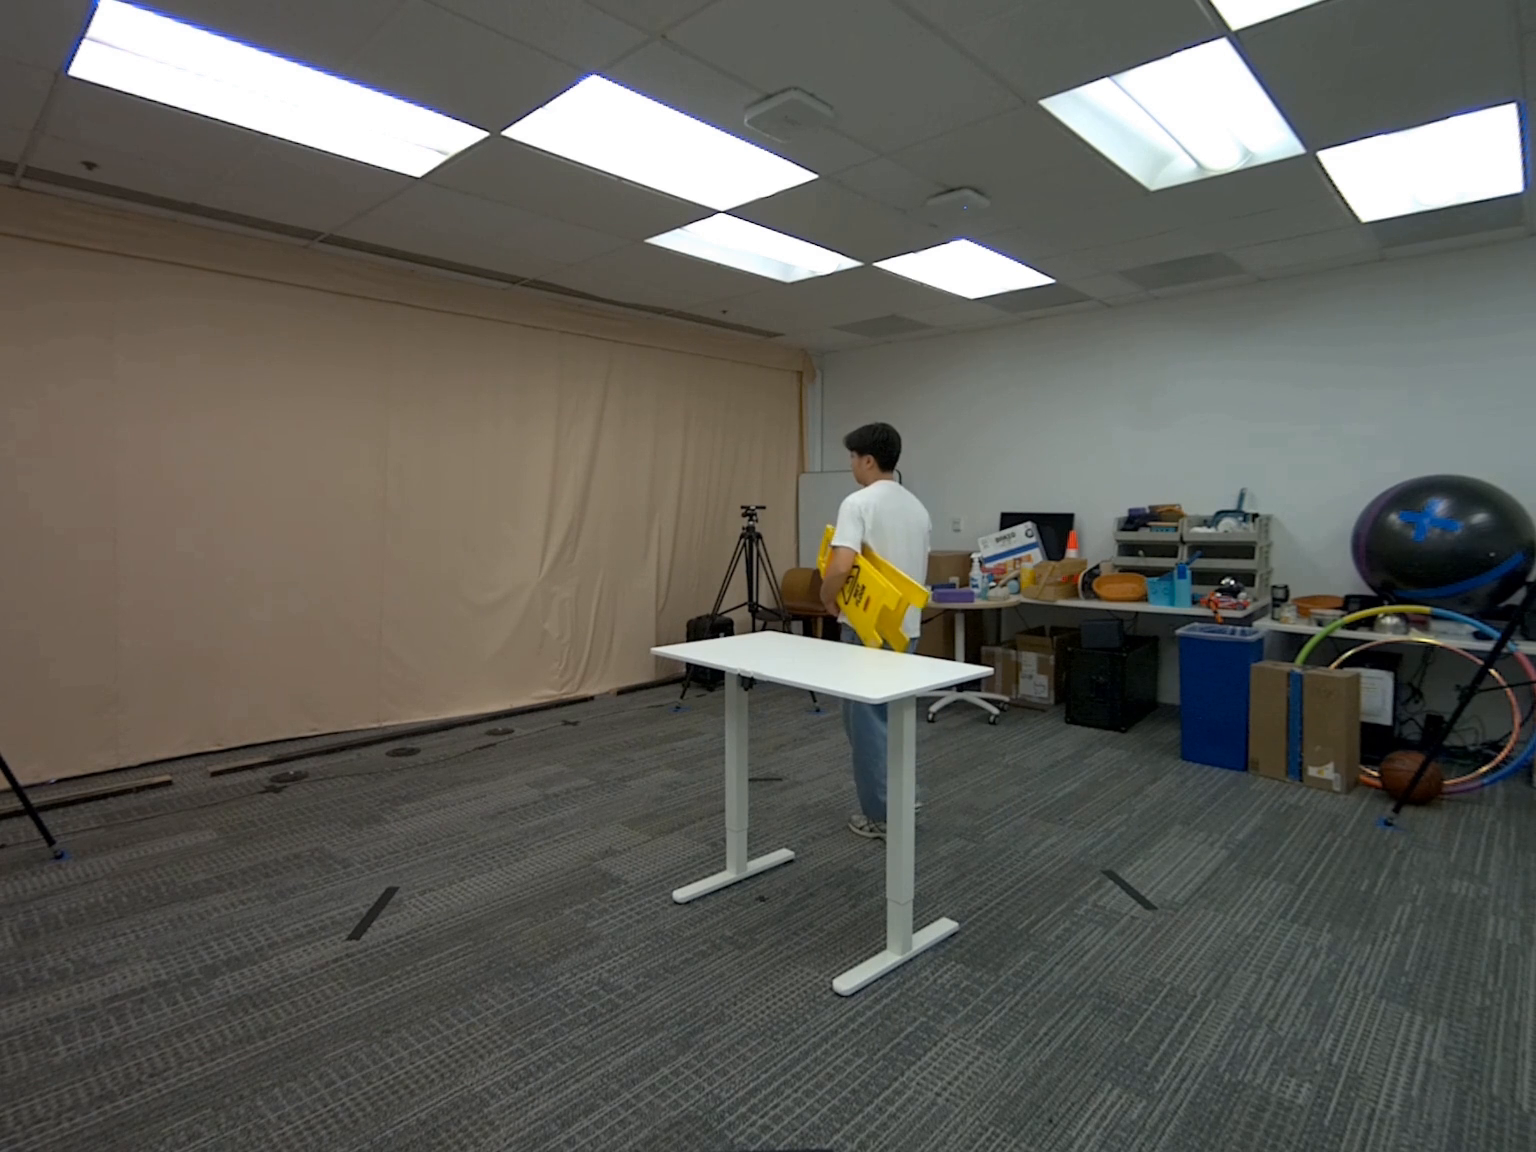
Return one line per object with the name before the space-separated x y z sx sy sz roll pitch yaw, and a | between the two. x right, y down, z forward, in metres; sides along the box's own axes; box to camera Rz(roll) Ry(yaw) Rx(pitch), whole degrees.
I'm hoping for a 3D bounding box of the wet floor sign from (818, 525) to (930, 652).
wet floor sign | 0.362 0.026 3.403 0.282 0.280 0.668 0 29 -27
